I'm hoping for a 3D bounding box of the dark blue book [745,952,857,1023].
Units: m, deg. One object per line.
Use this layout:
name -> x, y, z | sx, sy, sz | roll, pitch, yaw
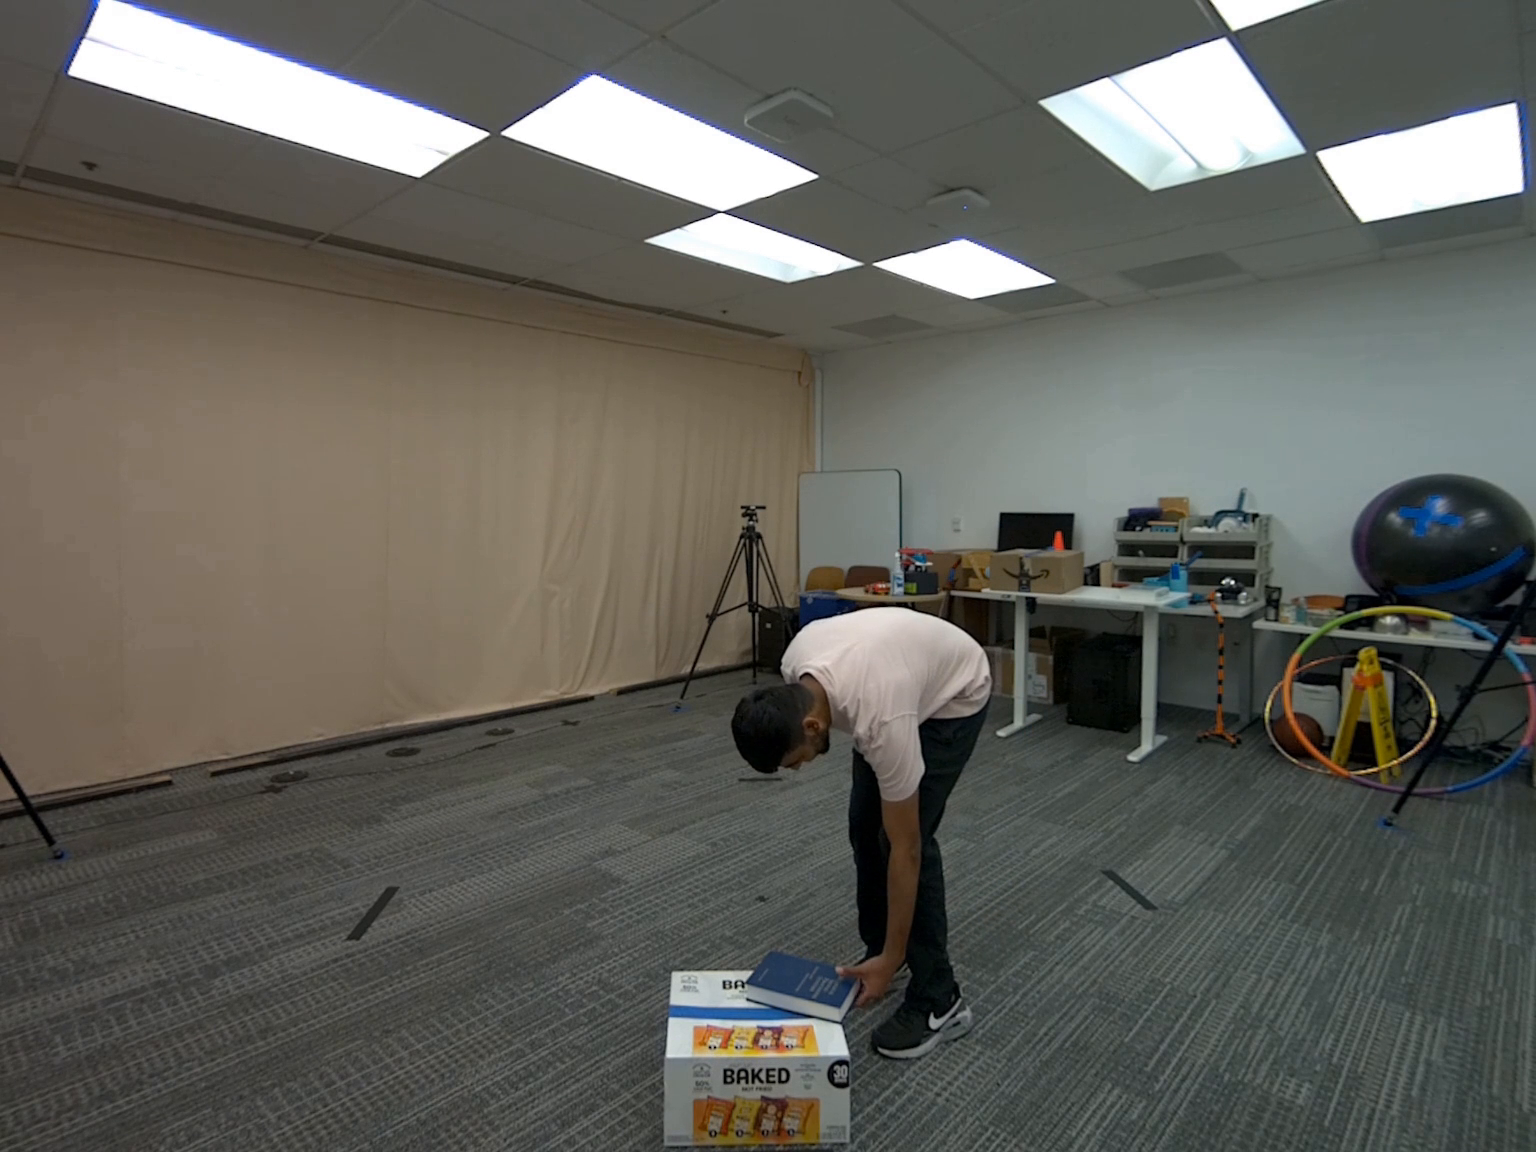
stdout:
dark blue book -> 0.093, 1.006, 2.043 | 0.251, 0.045, 0.160 | 1, 7, 26
